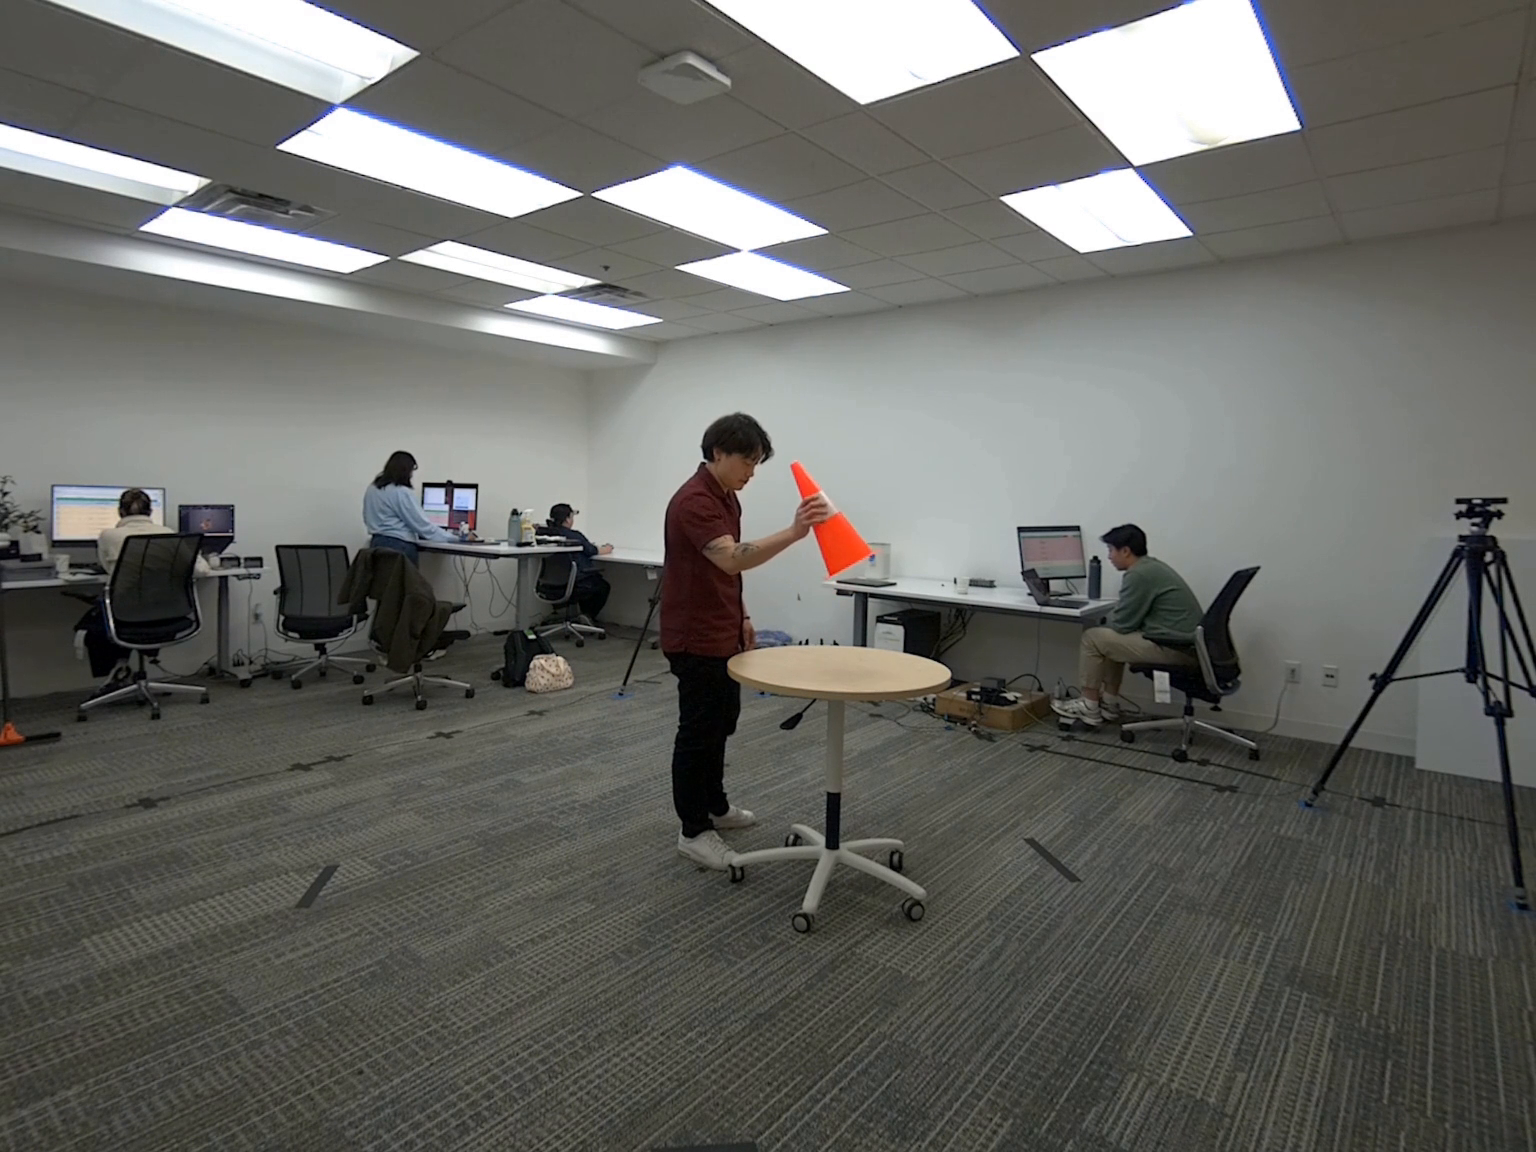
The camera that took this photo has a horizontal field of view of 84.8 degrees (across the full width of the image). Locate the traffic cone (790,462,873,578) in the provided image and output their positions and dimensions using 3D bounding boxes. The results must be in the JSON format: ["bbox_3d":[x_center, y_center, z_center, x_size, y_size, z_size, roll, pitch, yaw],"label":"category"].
[{"bbox_3d":[0.173,-0.189,2.765,0.206,0.387,0.201,-28,-5,11],"label":"traffic cone"}]
